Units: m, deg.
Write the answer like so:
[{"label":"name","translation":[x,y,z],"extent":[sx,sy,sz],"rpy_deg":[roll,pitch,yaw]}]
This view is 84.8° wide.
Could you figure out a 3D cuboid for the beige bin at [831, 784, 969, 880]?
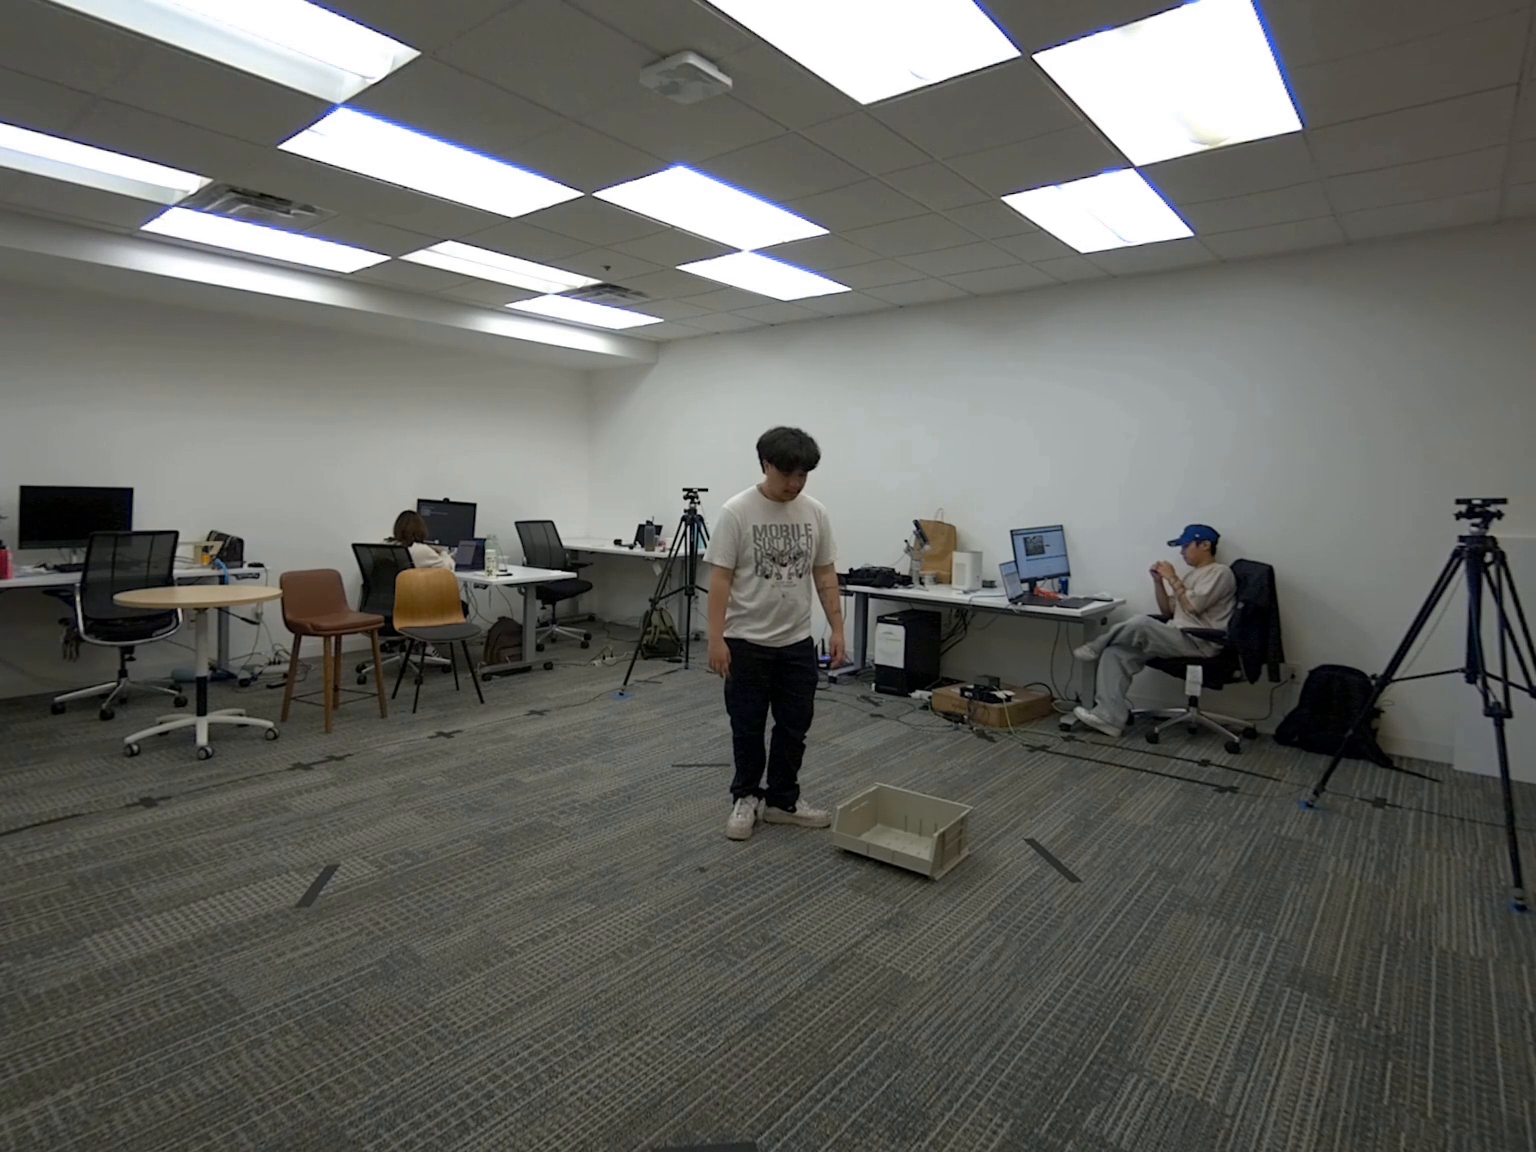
[{"label":"beige bin","translation":[0.513,0.981,3.289],"extent":[0.436,0.188,0.366],"rpy_deg":[4,5,36]}]
